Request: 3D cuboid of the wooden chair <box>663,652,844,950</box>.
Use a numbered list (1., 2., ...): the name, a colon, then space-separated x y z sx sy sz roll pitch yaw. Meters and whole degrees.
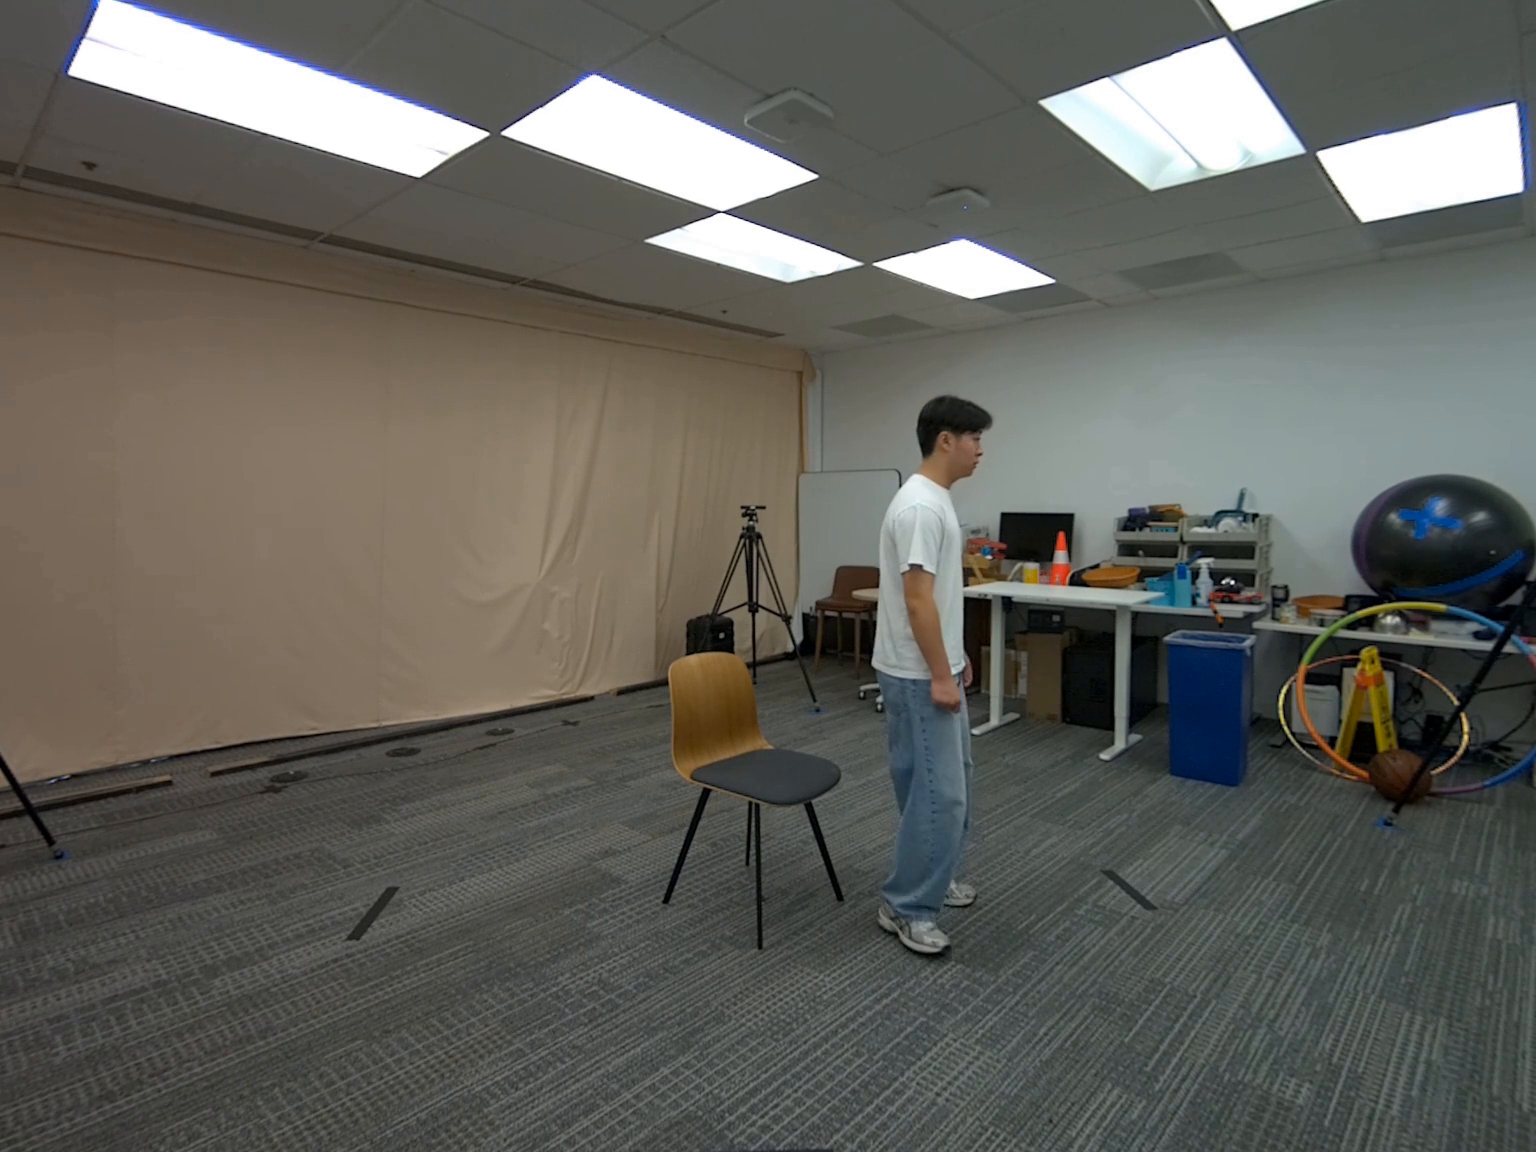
1. wooden chair: -0.042 0.723 2.921 0.539 0.877 0.463 -3 1 42
